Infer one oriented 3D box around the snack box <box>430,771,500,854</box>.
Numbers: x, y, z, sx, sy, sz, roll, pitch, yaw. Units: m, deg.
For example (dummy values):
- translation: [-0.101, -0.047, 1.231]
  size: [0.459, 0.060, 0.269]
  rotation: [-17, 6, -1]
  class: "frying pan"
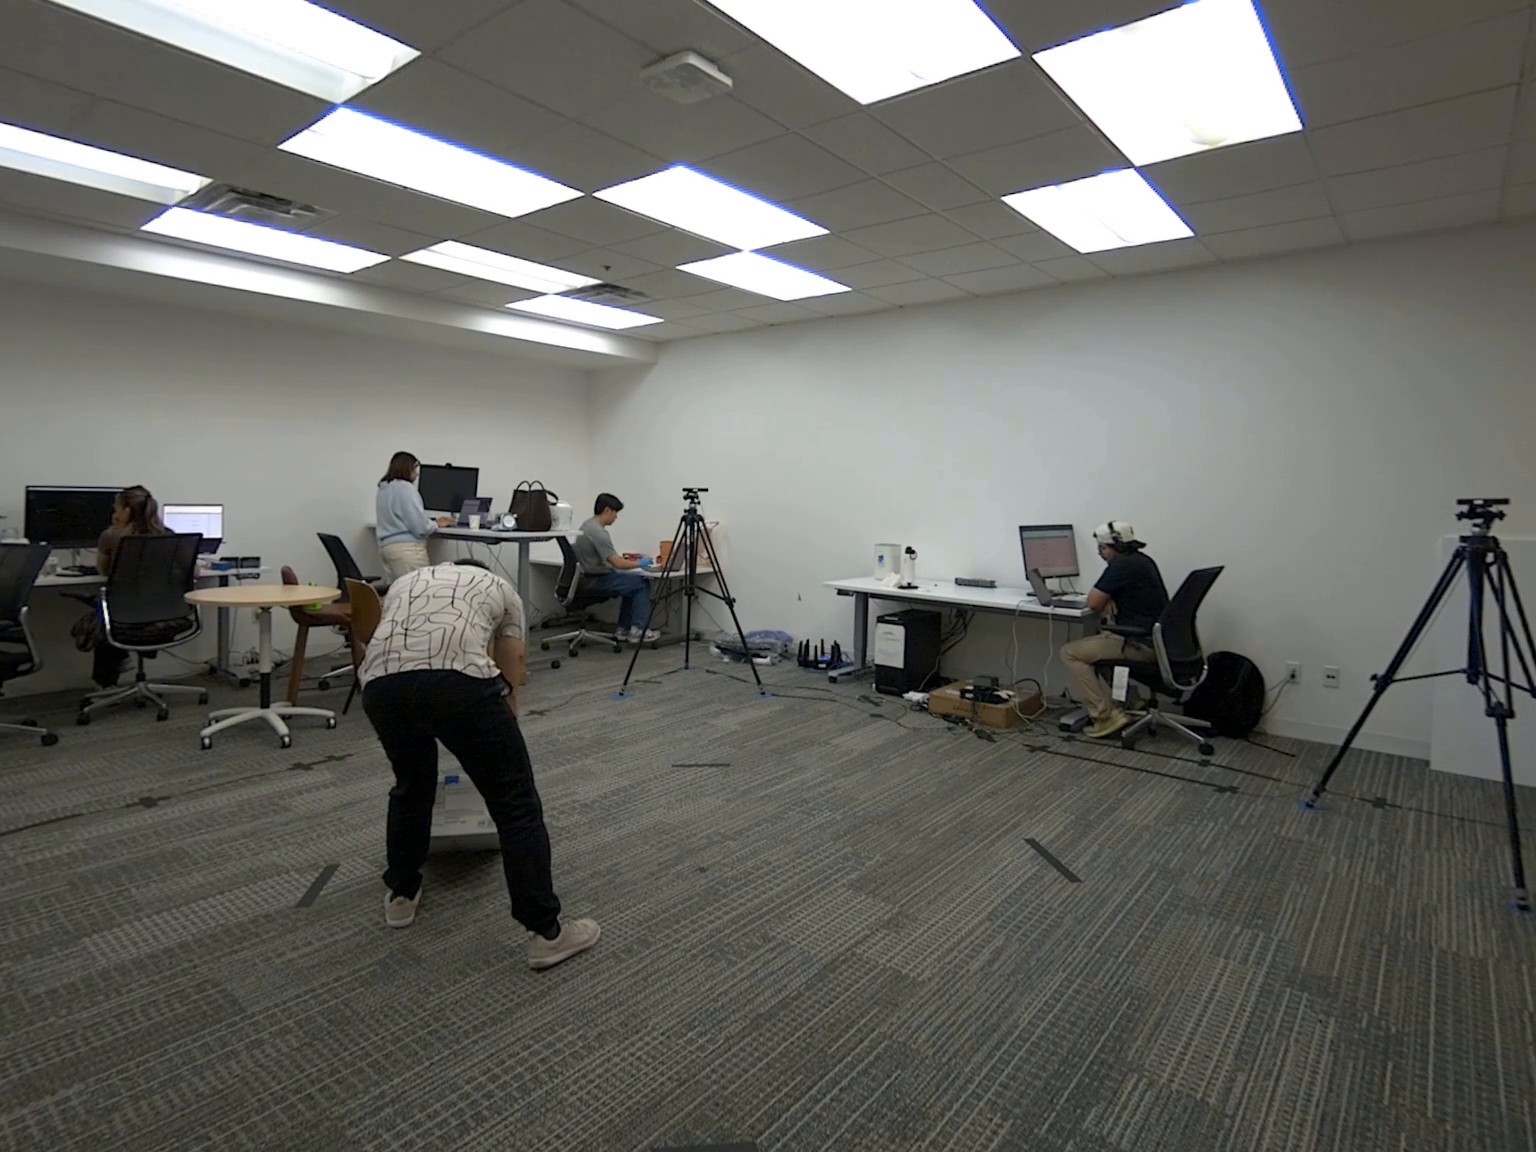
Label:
- translation: [-1.147, 0.872, 3.093]
  size: [0.335, 0.211, 0.401]
  rotation: [0, -25, -14]
  class: "snack box"
